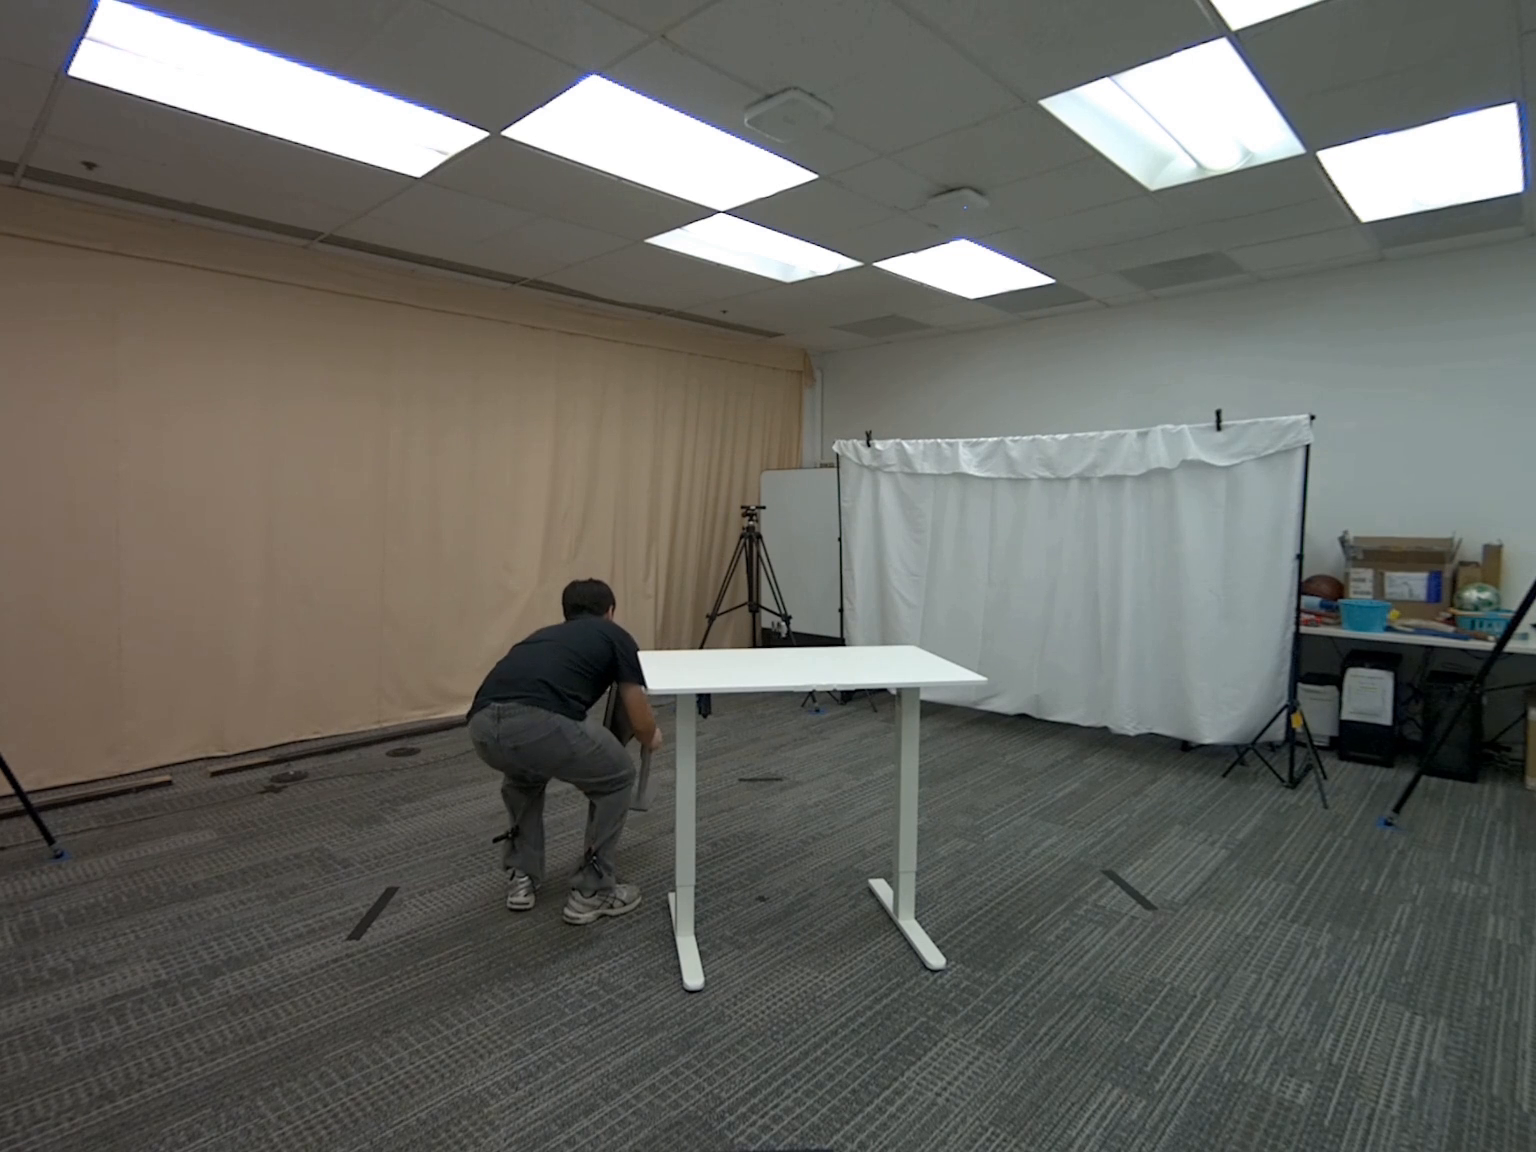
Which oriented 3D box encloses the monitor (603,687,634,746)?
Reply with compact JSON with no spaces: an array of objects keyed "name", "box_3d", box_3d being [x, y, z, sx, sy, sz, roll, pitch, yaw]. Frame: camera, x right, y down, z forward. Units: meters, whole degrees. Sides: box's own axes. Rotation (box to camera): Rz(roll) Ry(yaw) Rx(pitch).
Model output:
[{"name":"monitor","box_3d":[-0.549,0.629,3.344,0.225,0.564,0.557,-1,4,9]}]
